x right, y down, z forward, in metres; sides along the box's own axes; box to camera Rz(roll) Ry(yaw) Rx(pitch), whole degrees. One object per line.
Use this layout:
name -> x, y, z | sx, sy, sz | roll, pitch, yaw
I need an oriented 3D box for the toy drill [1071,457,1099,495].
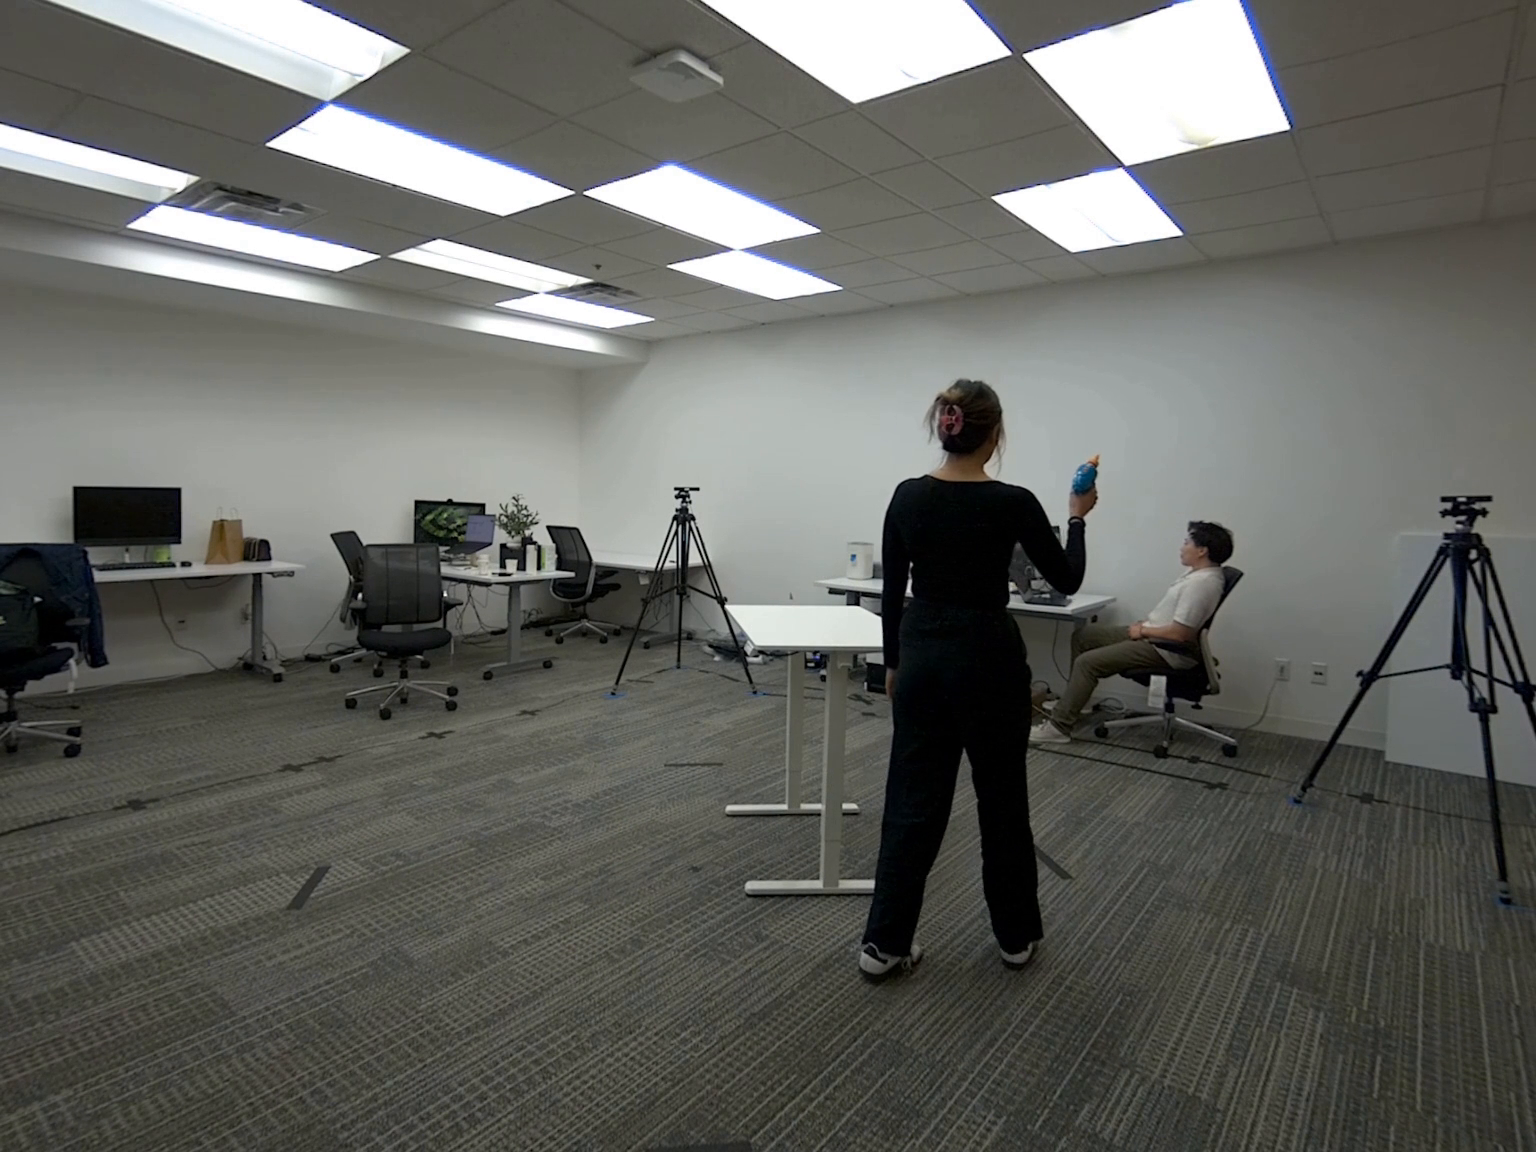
toy drill -> 0.986, -0.295, 2.610 | 0.063, 0.141, 0.170 | 5, 48, 49
